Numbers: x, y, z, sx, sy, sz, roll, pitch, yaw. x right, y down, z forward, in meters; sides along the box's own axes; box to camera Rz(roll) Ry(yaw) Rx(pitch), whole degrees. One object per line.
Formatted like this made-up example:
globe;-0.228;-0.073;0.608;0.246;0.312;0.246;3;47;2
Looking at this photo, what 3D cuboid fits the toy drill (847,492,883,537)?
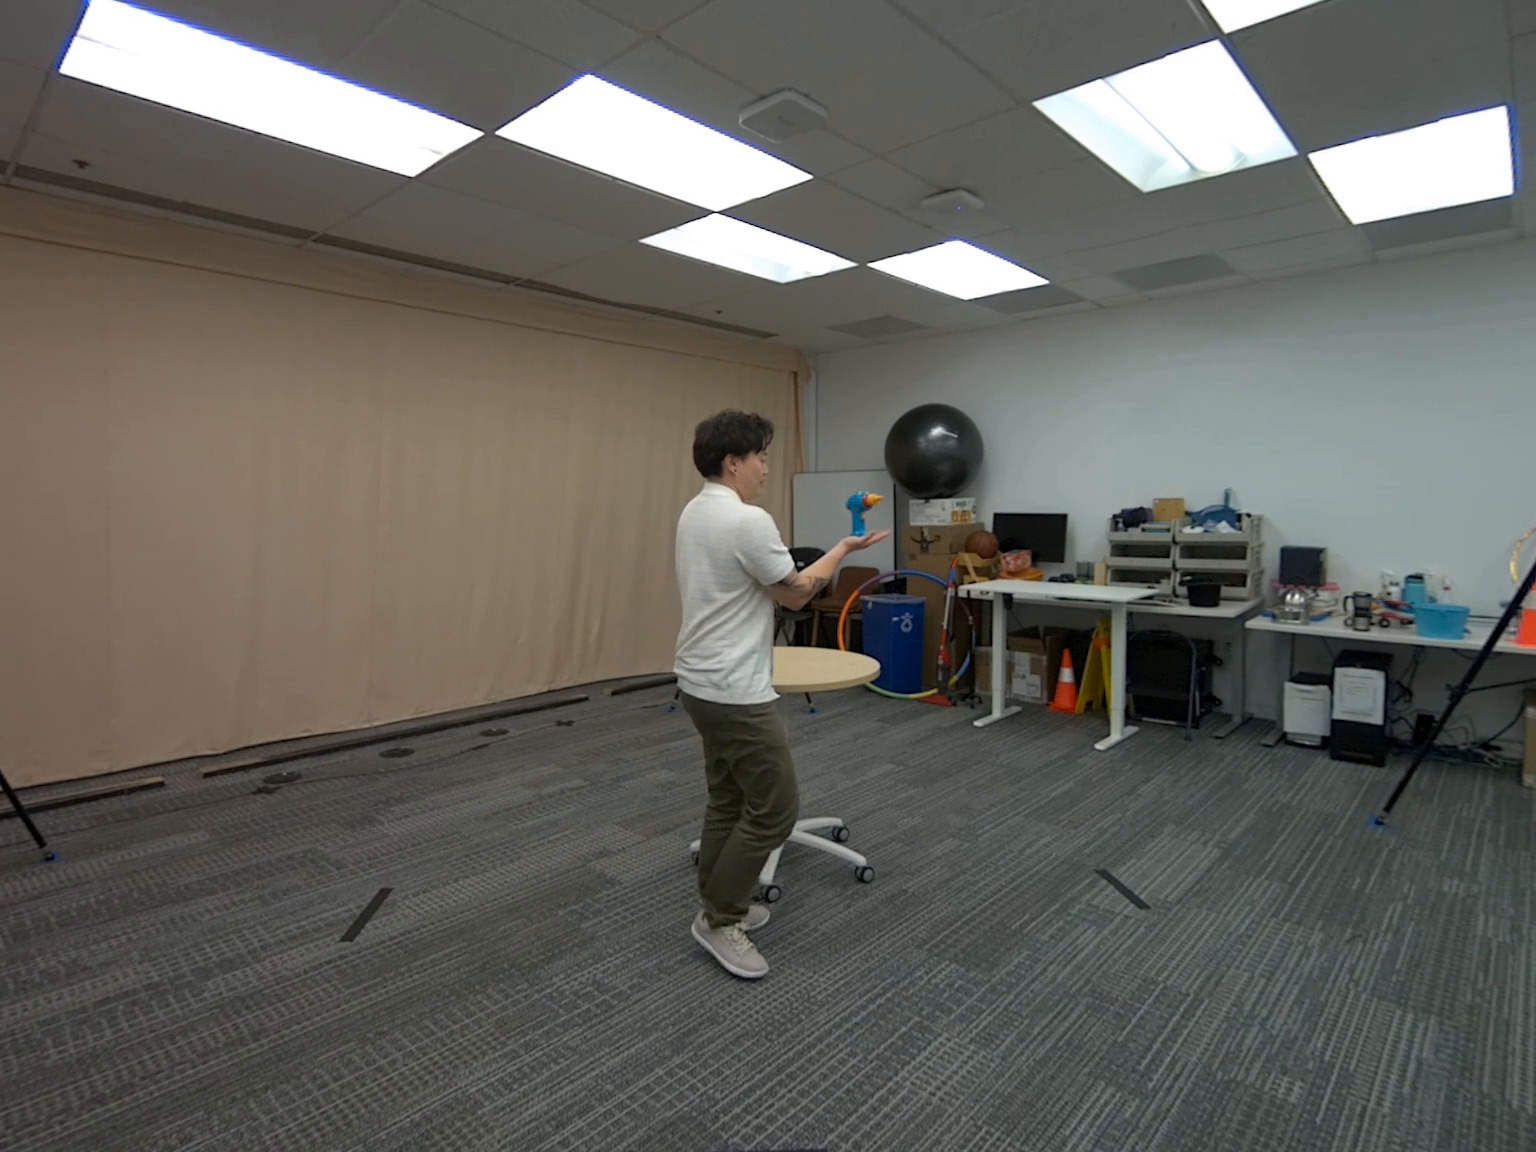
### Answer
toy drill;0.312;-0.194;2.612;0.060;0.146;0.173;-4;-5;-26
